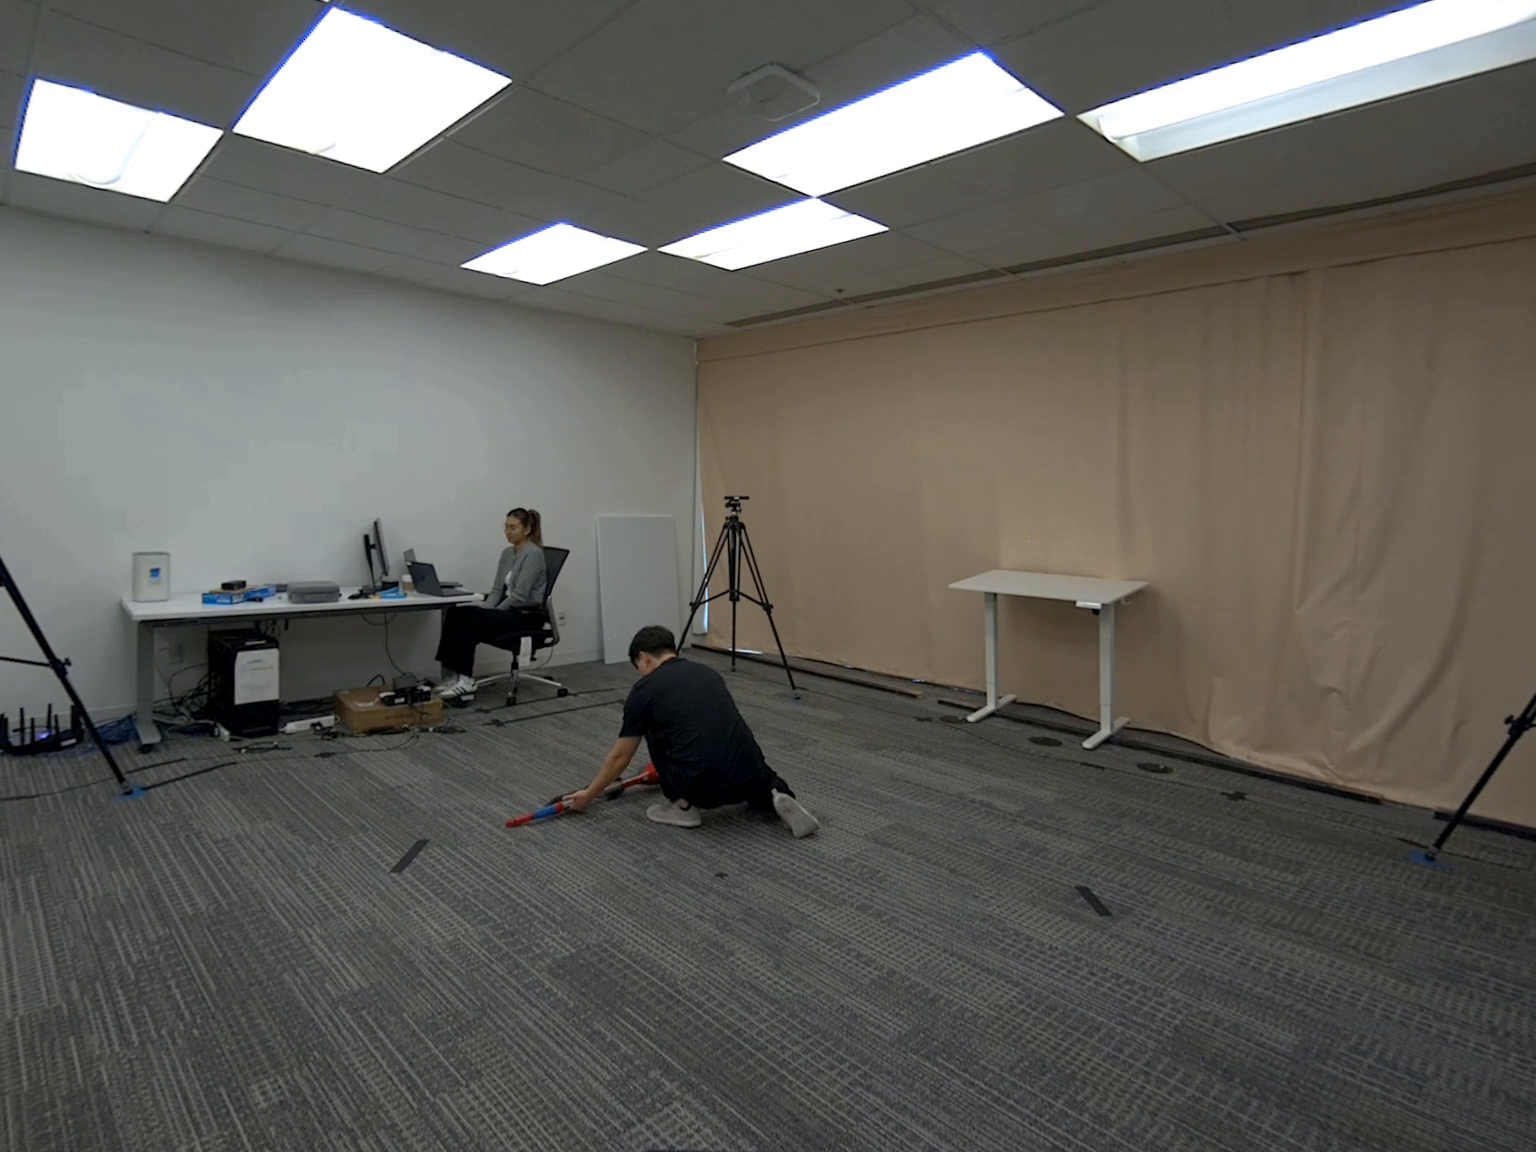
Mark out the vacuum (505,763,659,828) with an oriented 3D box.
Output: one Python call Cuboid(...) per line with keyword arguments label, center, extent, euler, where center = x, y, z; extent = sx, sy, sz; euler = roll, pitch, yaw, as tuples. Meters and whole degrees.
Cuboid(label="vacuum", center=(-0.697, 0.959, 3.851), extent=(1.029, 0.255, 0.145), euler=(-10, -12, -39))
